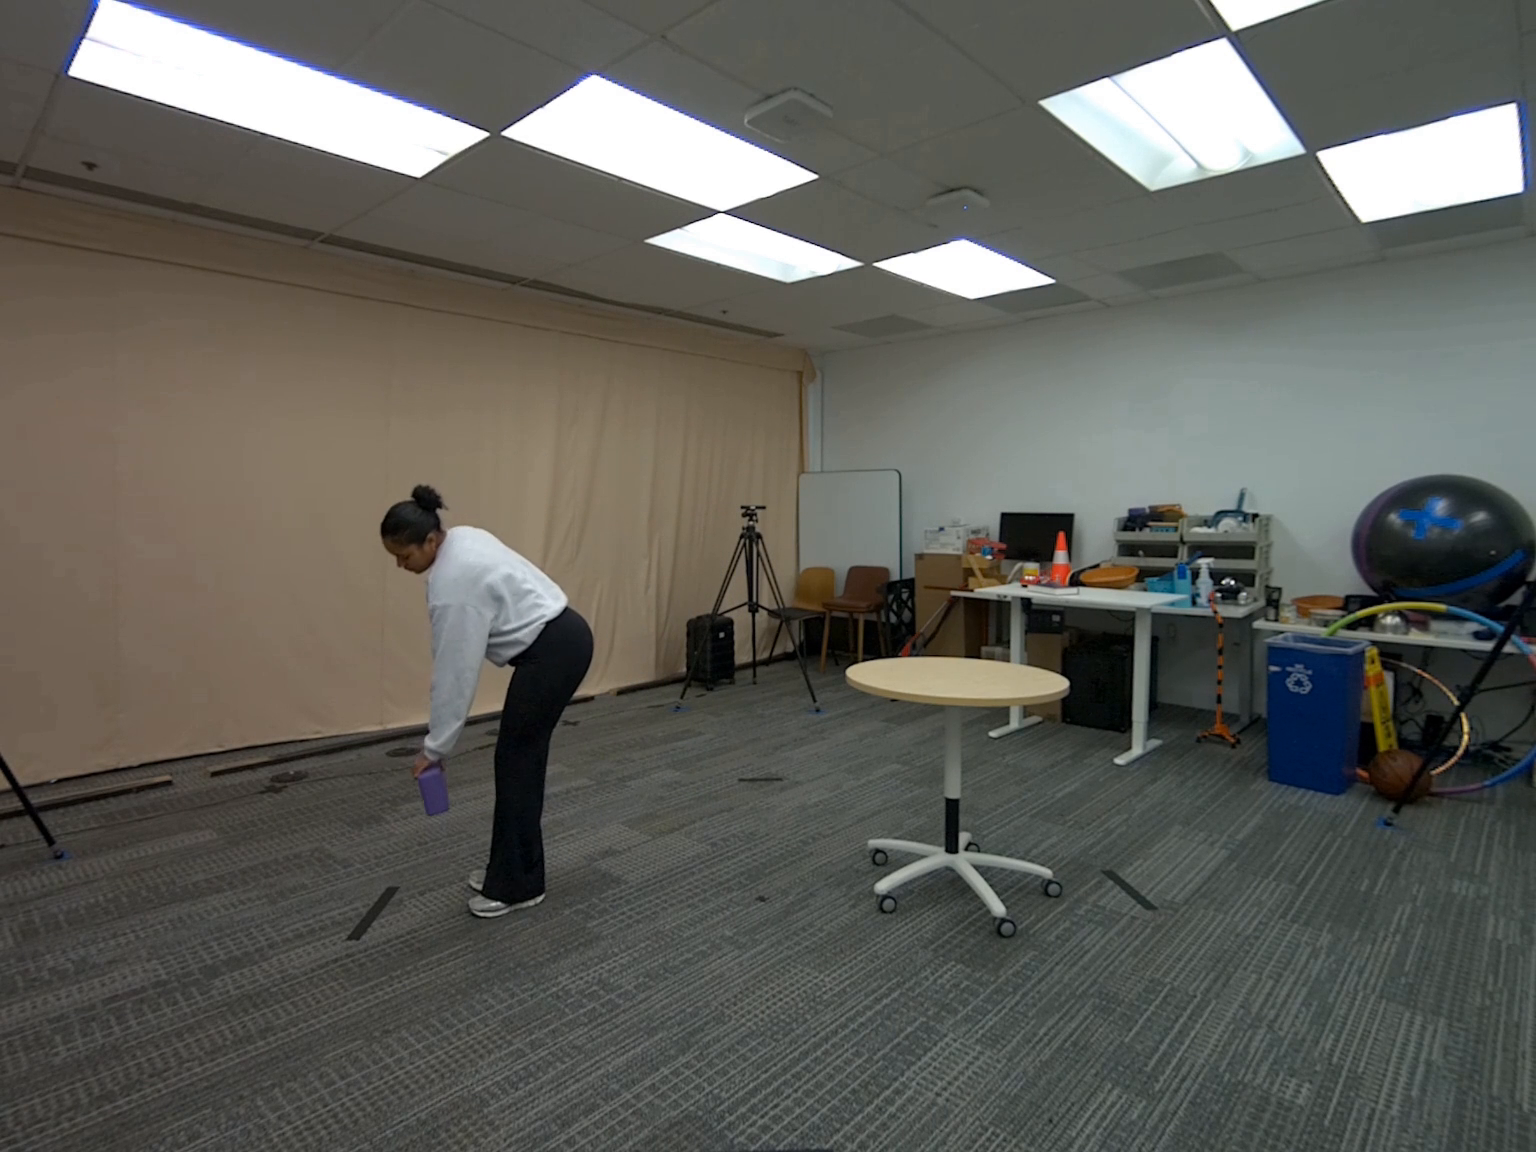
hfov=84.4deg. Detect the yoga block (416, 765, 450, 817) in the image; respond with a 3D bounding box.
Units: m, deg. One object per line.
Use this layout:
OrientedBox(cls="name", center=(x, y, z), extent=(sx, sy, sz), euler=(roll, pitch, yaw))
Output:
OrientedBox(cls="yoga block", center=(-1.154, 0.717, 2.902), extent=(0.075, 0.148, 0.235), euler=(-14, 10, -24))
